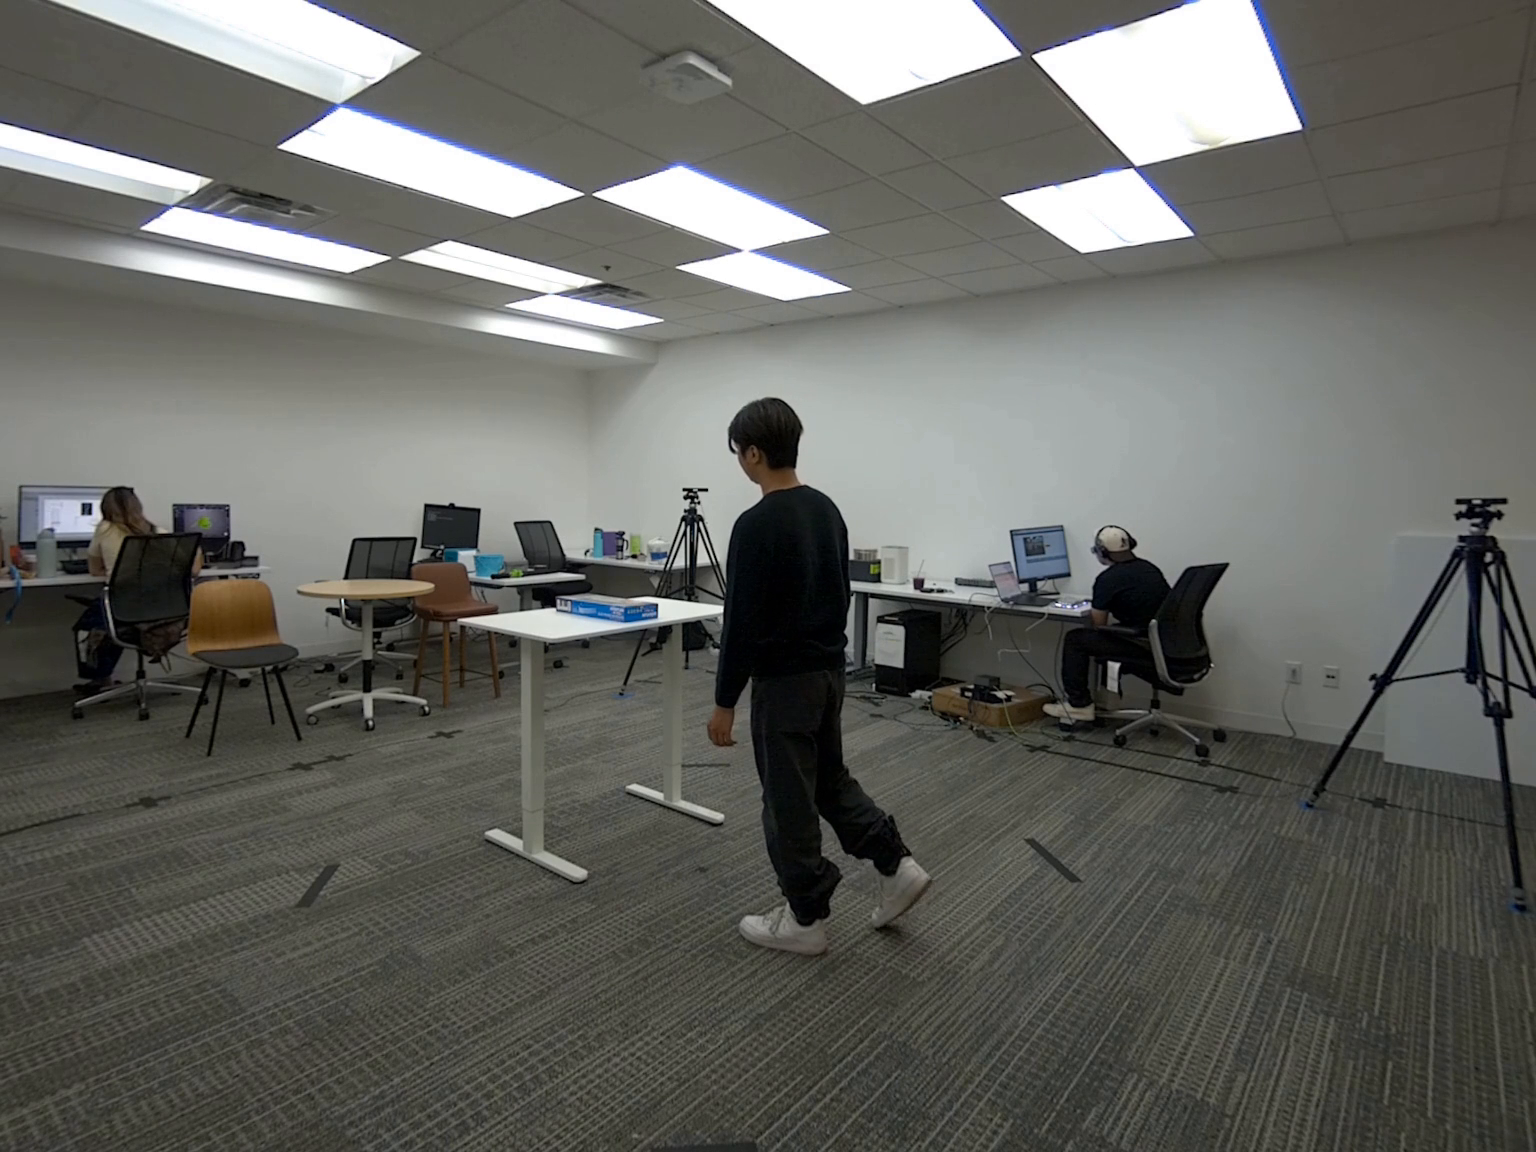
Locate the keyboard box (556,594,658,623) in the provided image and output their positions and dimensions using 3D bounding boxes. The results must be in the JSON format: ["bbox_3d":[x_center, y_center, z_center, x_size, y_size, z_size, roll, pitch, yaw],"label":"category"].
[{"bbox_3d":[-0.663,0.123,3.394,0.452,0.059,0.171,6,7,42],"label":"keyboard box"}]
